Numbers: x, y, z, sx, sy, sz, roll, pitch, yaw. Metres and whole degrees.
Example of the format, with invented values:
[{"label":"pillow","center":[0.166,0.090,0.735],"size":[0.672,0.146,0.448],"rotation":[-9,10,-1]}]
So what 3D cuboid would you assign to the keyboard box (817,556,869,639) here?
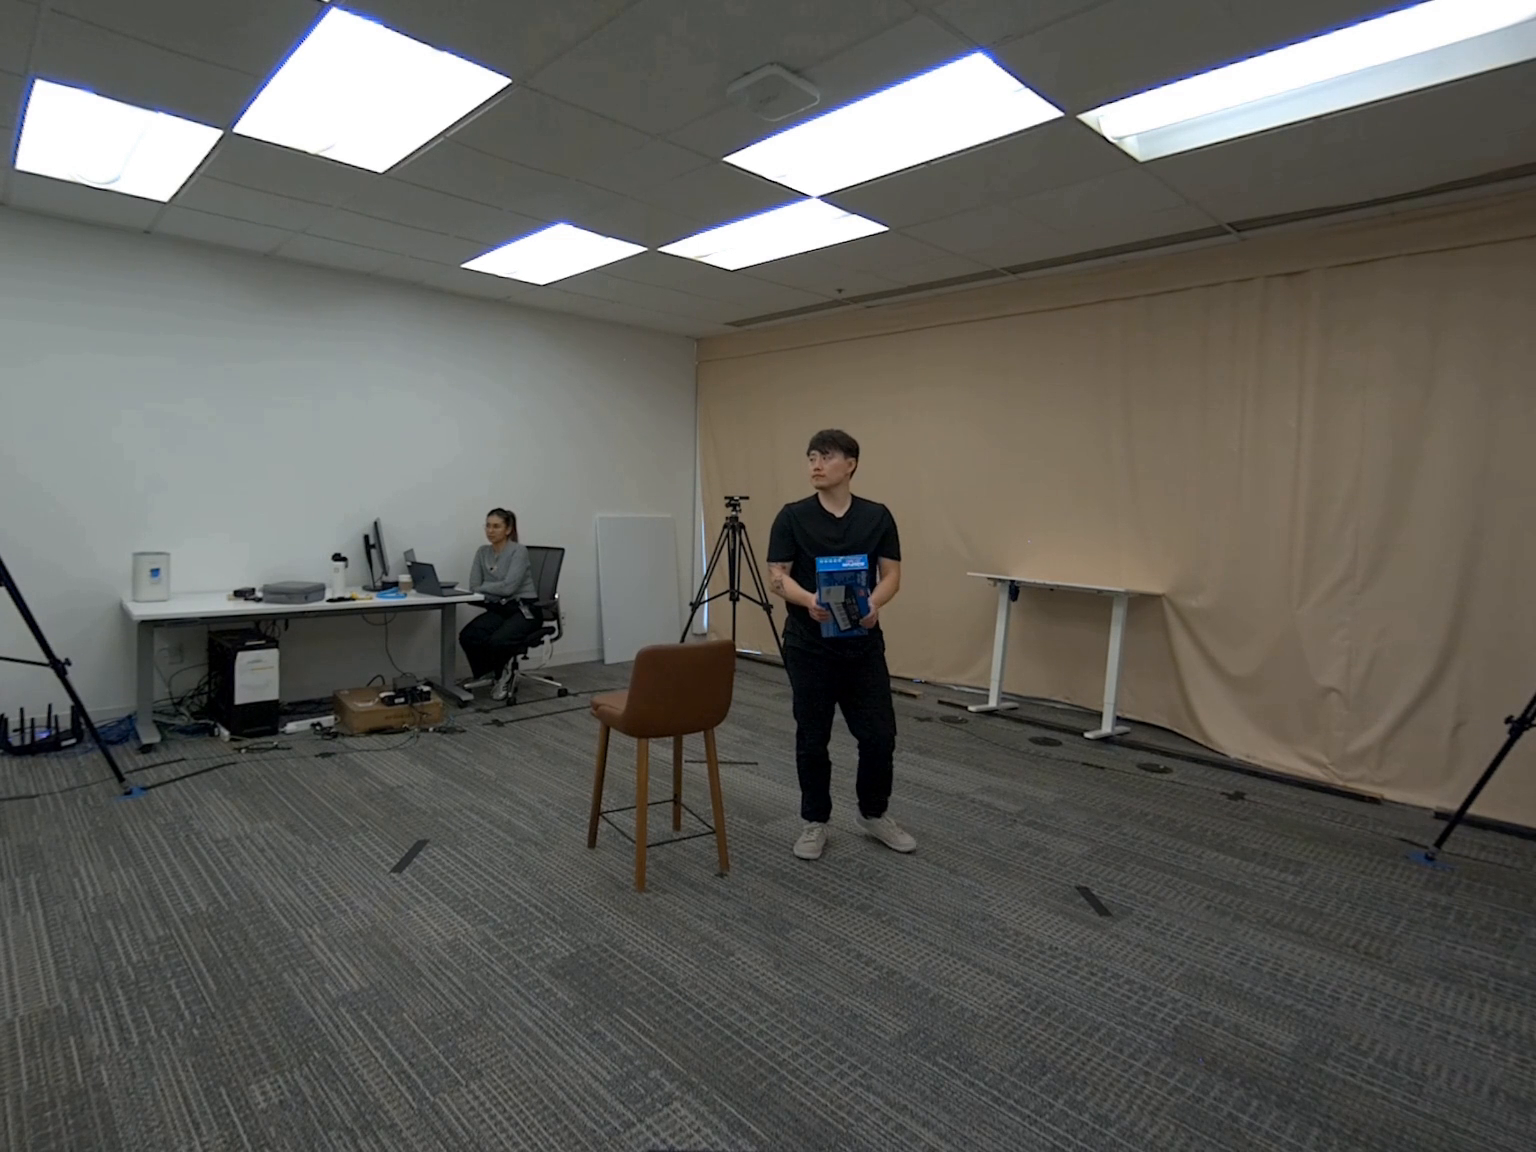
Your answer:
[{"label":"keyboard box","center":[0.246,0.082,2.975],"size":[0.176,0.060,0.427],"rotation":[-2,-35,1]}]
